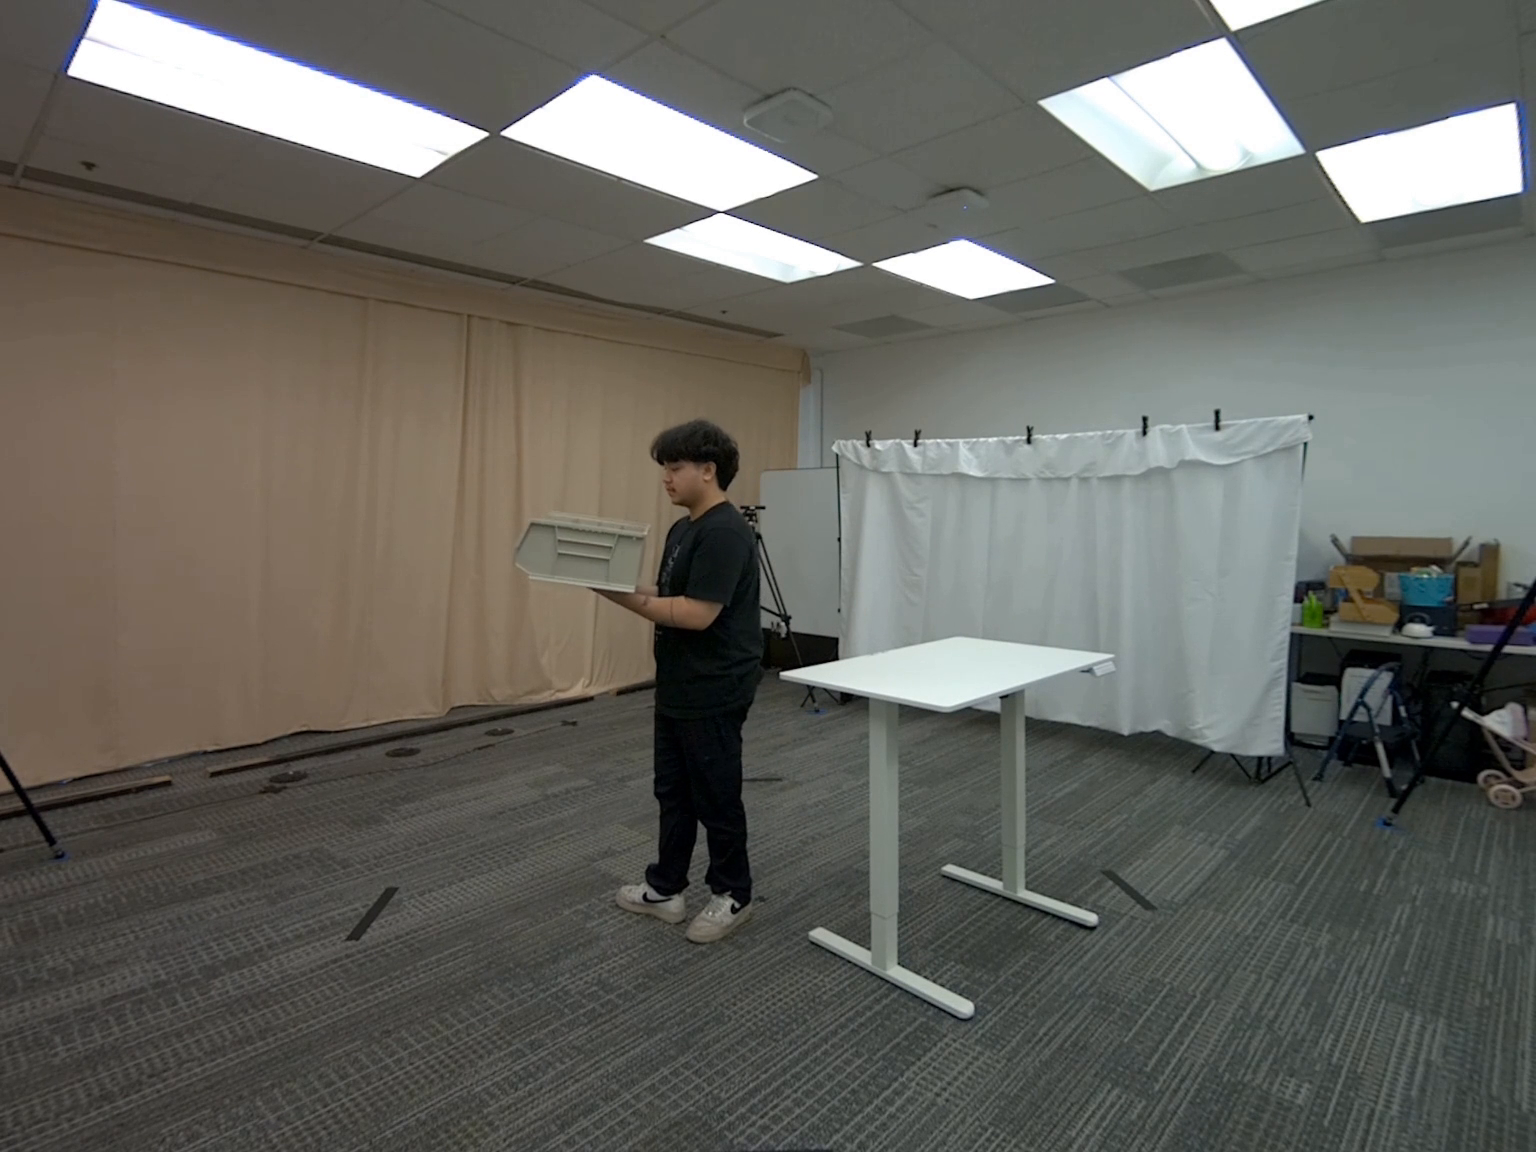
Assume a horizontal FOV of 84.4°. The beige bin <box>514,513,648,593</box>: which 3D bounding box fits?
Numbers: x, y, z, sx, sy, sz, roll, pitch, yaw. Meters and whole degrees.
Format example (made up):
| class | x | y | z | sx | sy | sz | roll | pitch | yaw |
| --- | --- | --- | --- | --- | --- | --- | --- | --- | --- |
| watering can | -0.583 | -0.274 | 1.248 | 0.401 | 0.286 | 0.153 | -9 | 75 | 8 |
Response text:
| class | x | y | z | sx | sy | sz | roll | pitch | yaw |
| --- | --- | --- | --- | --- | --- | --- | --- | --- | --- |
| beige bin | -0.575 | -0.083 | 2.662 | 0.375 | 0.188 | 0.426 | 8 | 6 | -5 |
